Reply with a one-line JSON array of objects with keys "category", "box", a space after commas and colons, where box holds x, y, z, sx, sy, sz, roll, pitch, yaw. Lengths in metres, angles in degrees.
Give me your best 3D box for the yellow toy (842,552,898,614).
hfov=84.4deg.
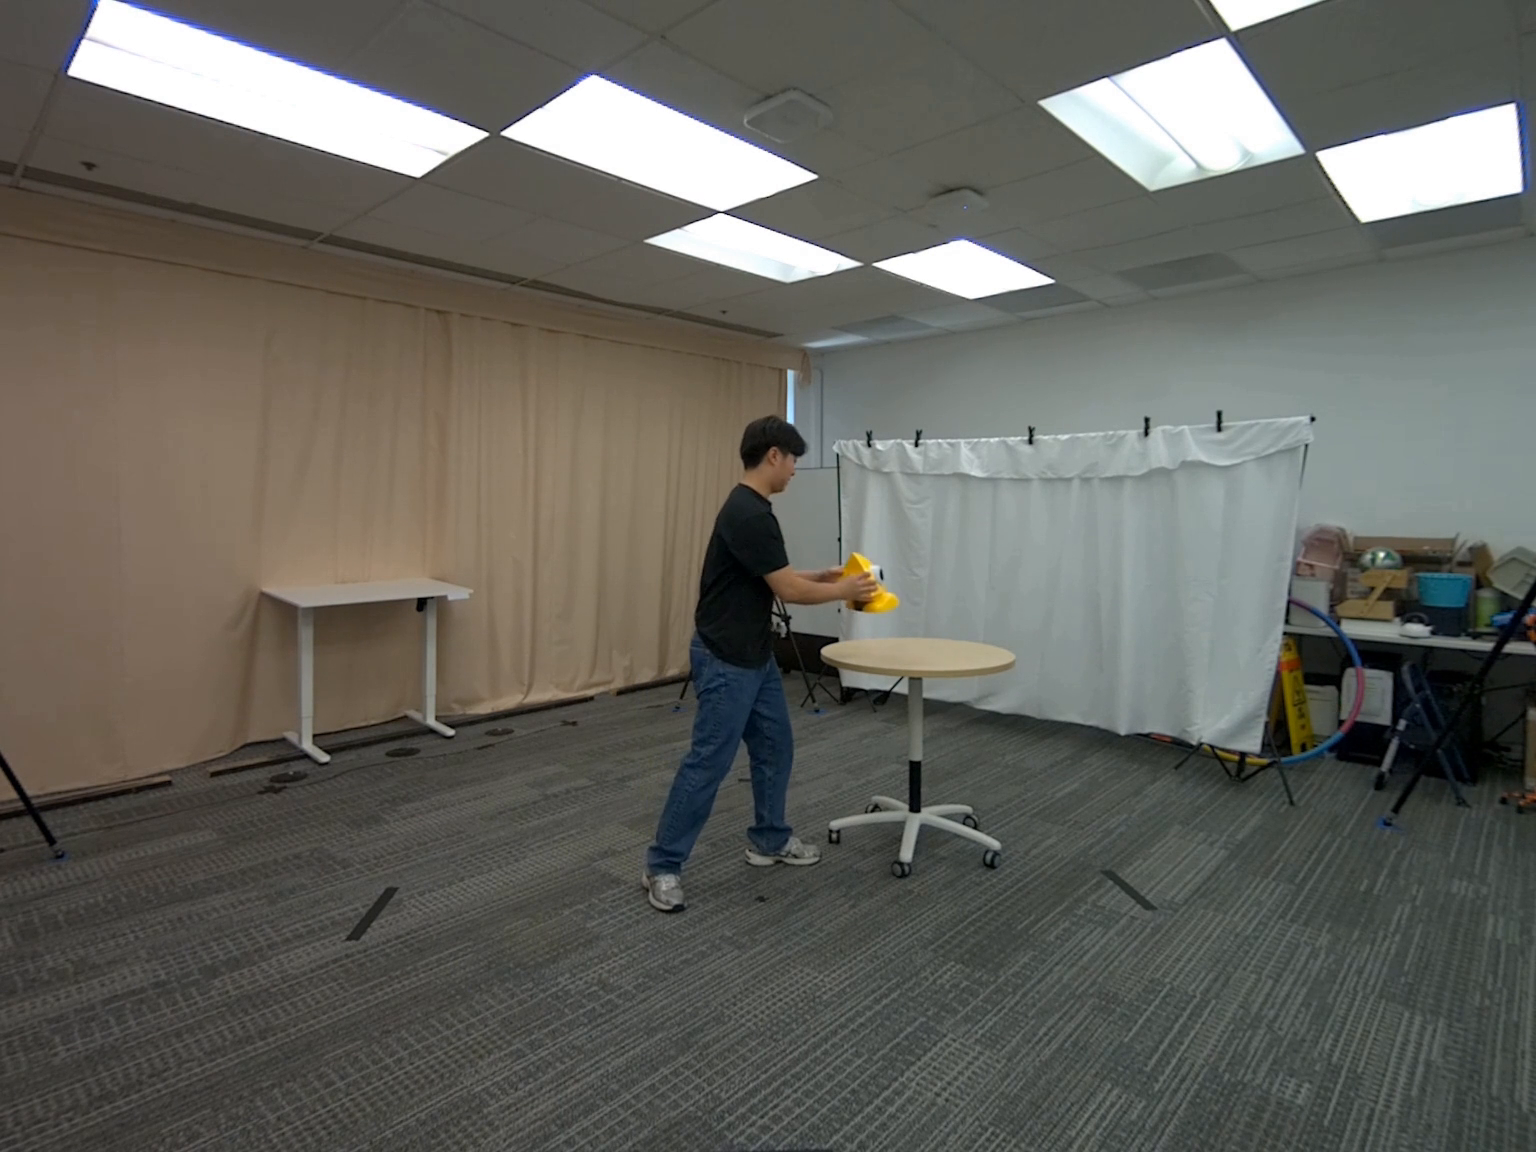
[{"category": "yellow toy", "box": [0.382, 0.010, 3.216, 0.188, 0.229, 0.211, -16, 14, -36]}]
